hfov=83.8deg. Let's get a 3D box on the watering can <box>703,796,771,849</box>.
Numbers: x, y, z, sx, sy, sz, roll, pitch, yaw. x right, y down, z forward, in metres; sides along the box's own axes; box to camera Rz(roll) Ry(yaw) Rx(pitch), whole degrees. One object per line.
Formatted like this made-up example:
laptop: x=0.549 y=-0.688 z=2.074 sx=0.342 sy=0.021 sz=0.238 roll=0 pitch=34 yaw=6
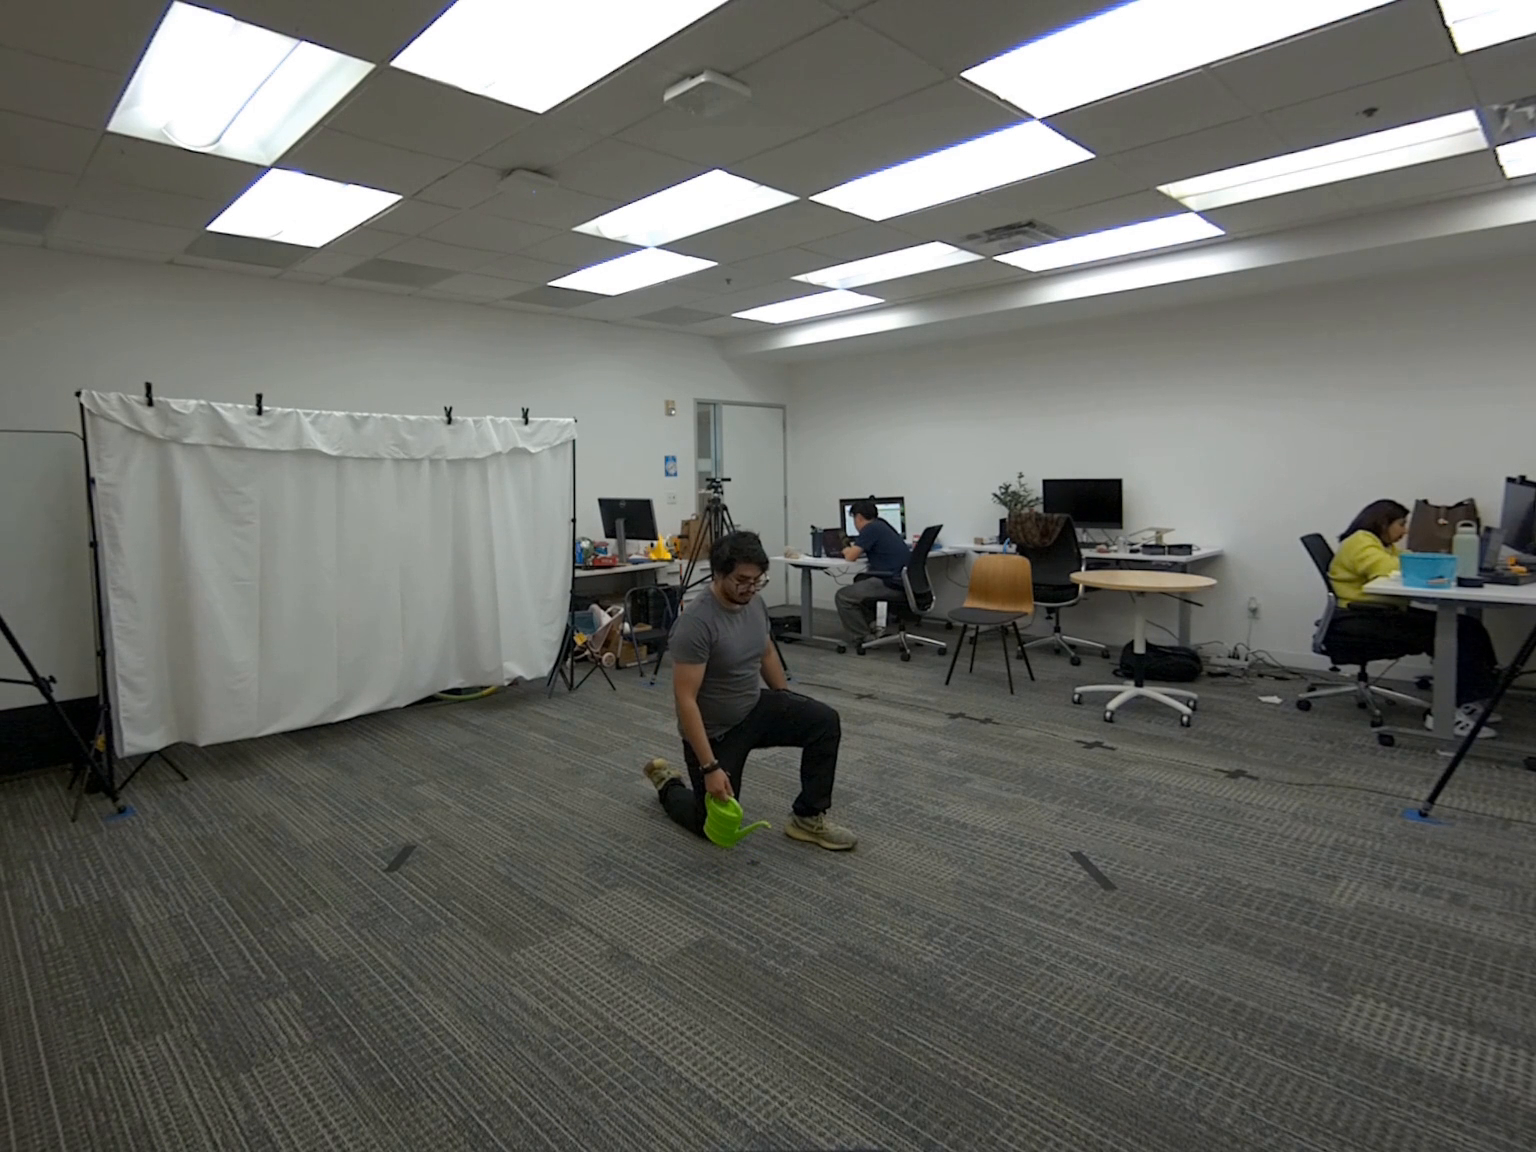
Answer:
watering can: x=-0.128 y=0.881 z=2.999 sx=0.095 sy=0.174 sz=0.289 roll=-3 pitch=26 yaw=-39
